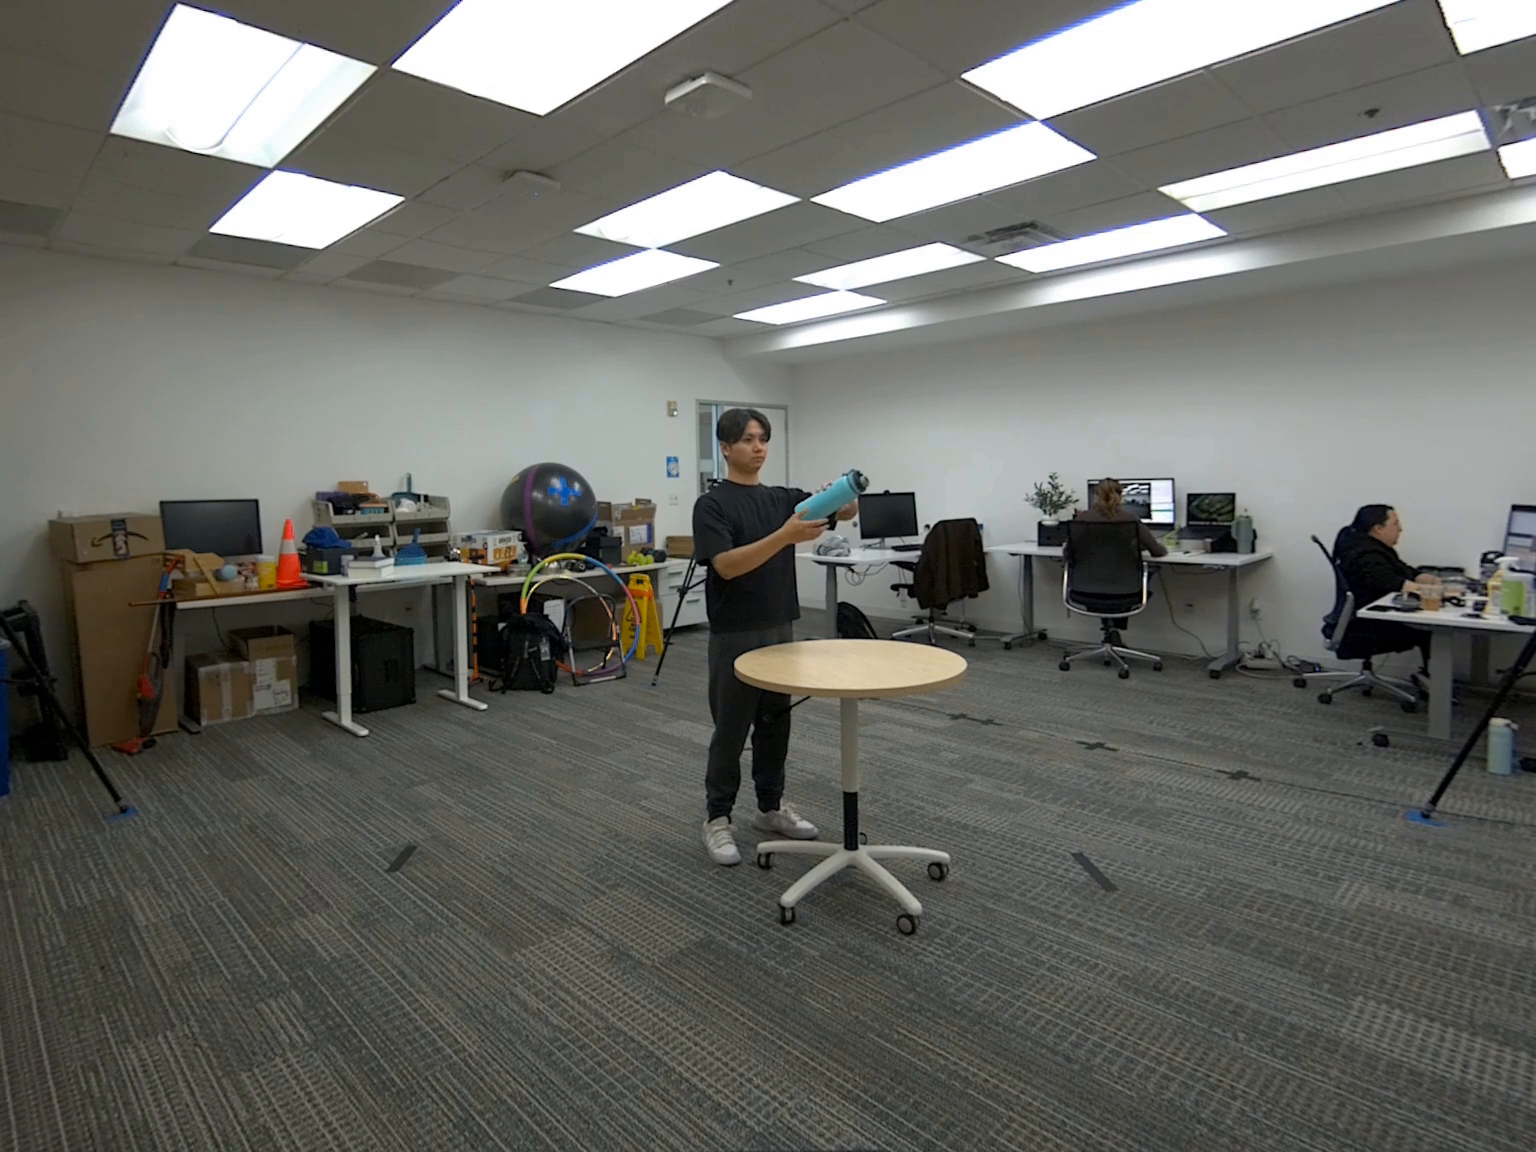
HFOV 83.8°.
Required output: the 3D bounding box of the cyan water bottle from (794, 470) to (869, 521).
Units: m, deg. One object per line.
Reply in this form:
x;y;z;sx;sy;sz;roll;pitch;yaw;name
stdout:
0.234;-0.276;3.003;0.285;0.094;0.090;-34;-11;26;cyan water bottle
